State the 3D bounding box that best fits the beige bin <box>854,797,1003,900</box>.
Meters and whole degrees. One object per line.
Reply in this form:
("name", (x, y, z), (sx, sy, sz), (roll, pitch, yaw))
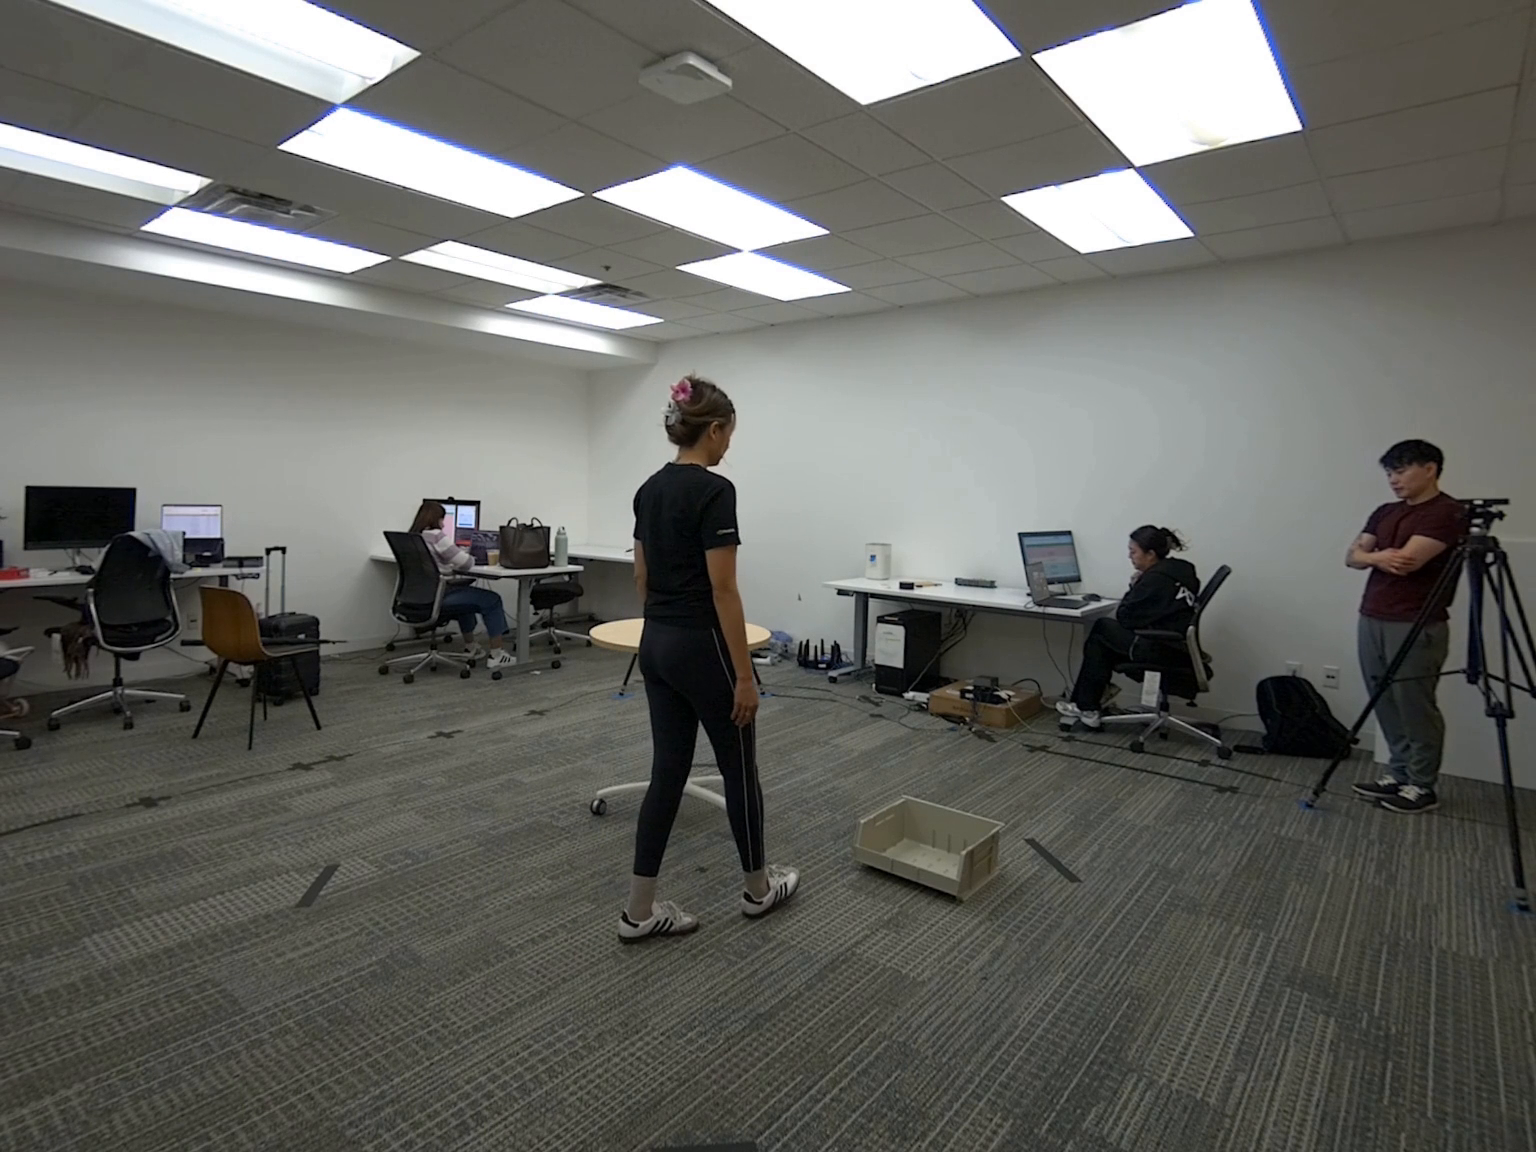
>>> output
("beige bin", (0.588, 0.997, 3.142), (0.436, 0.188, 0.366), (4, 5, 38))
